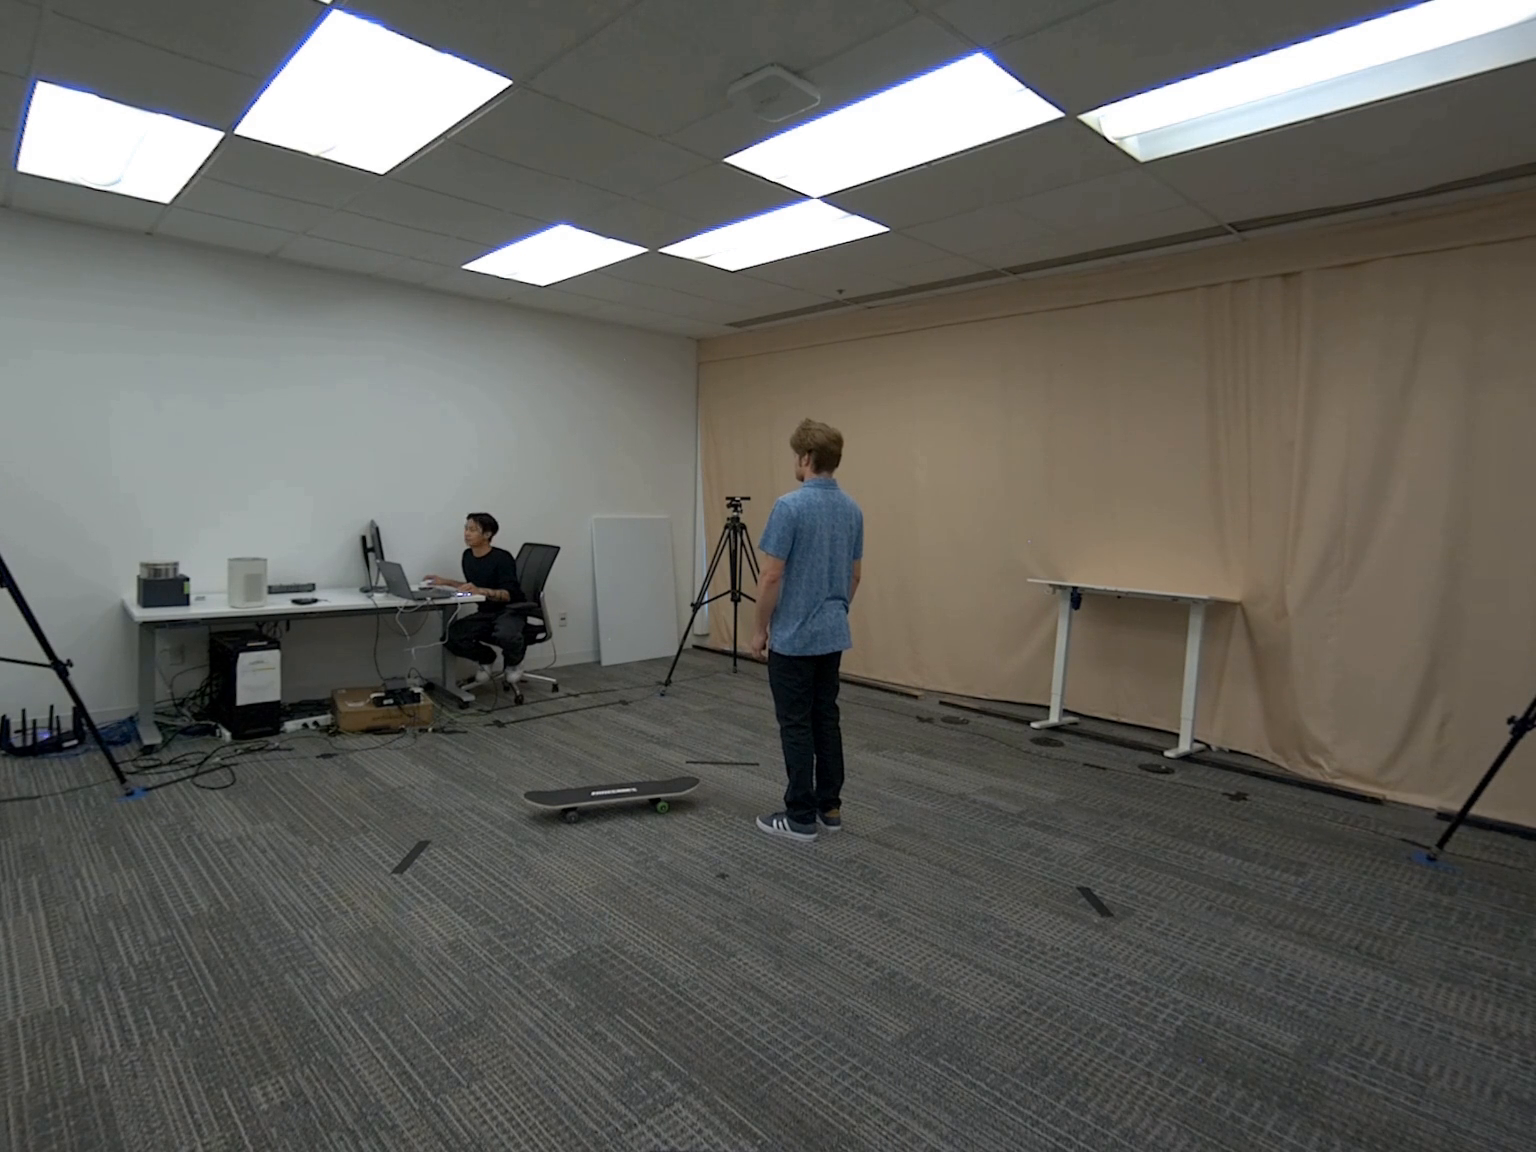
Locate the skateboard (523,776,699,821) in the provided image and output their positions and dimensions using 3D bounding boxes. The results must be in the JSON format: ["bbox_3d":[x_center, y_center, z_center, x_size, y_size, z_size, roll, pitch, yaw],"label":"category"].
[{"bbox_3d":[-0.681,0.980,3.713,0.773,0.110,0.197,-1,5,-20],"label":"skateboard"}]
